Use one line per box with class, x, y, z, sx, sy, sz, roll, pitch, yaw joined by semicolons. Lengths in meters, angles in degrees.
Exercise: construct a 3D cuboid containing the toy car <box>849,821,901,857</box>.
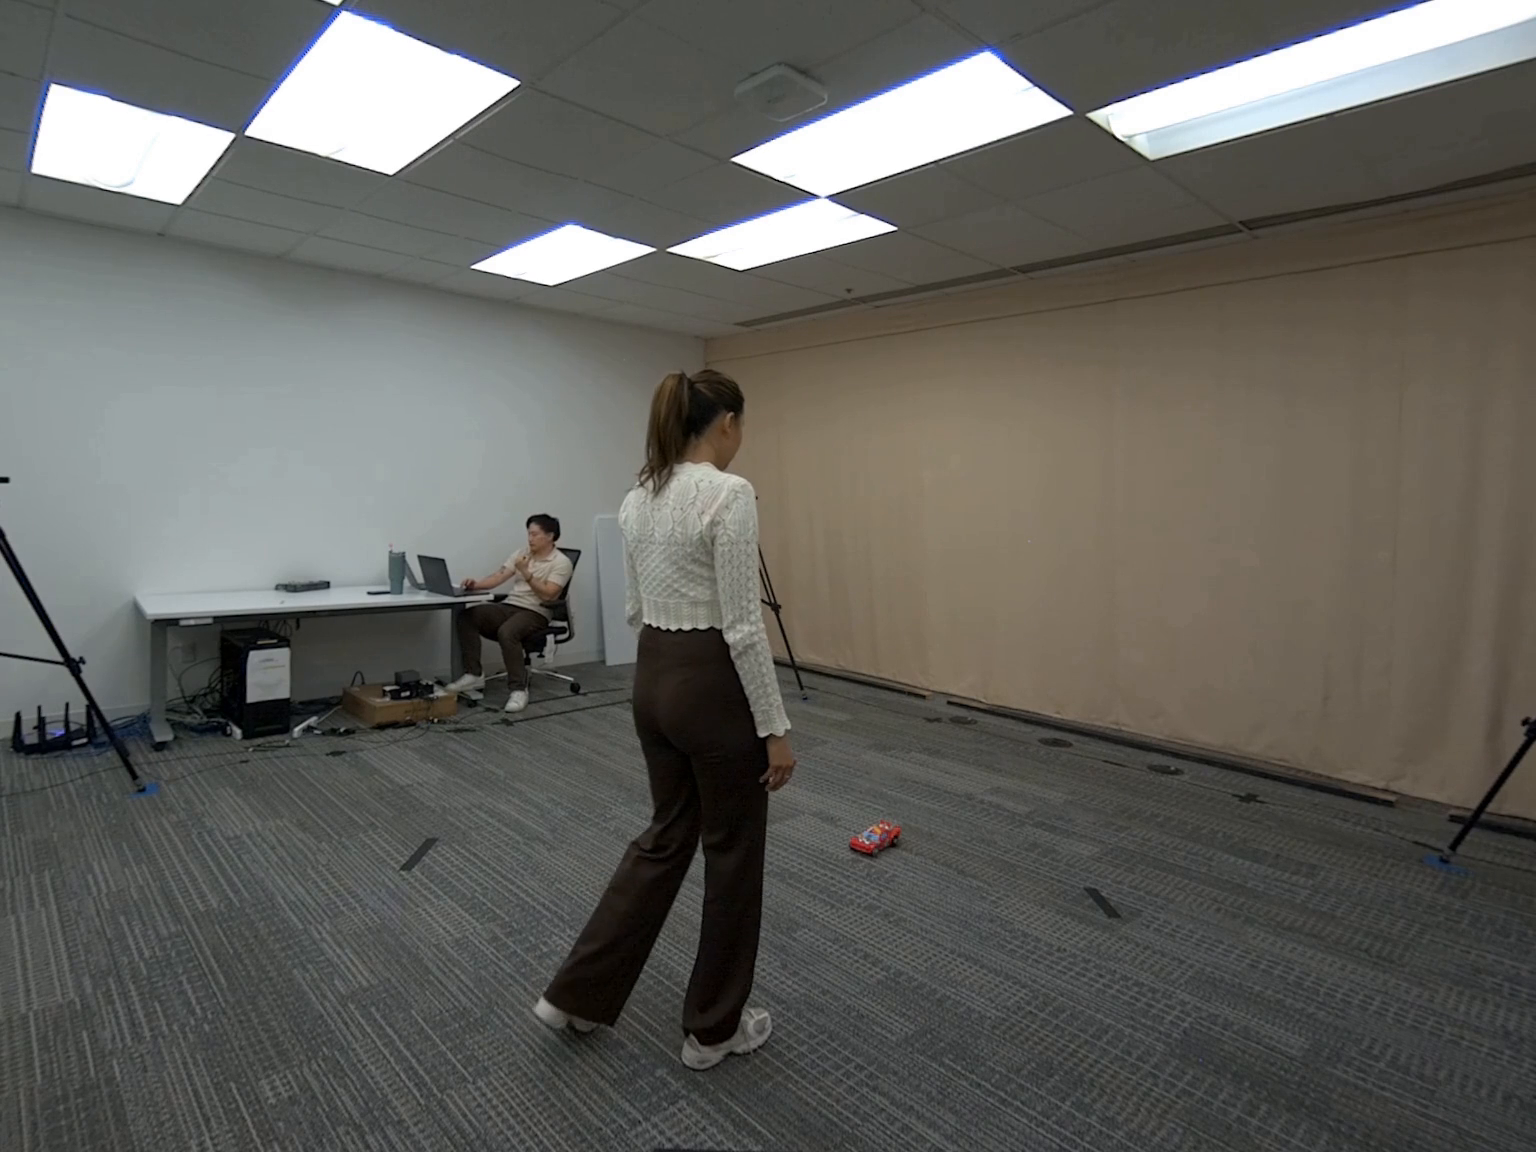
toy car;0.433;1.059;3.394;0.133;0.082;0.250;5;17;41
